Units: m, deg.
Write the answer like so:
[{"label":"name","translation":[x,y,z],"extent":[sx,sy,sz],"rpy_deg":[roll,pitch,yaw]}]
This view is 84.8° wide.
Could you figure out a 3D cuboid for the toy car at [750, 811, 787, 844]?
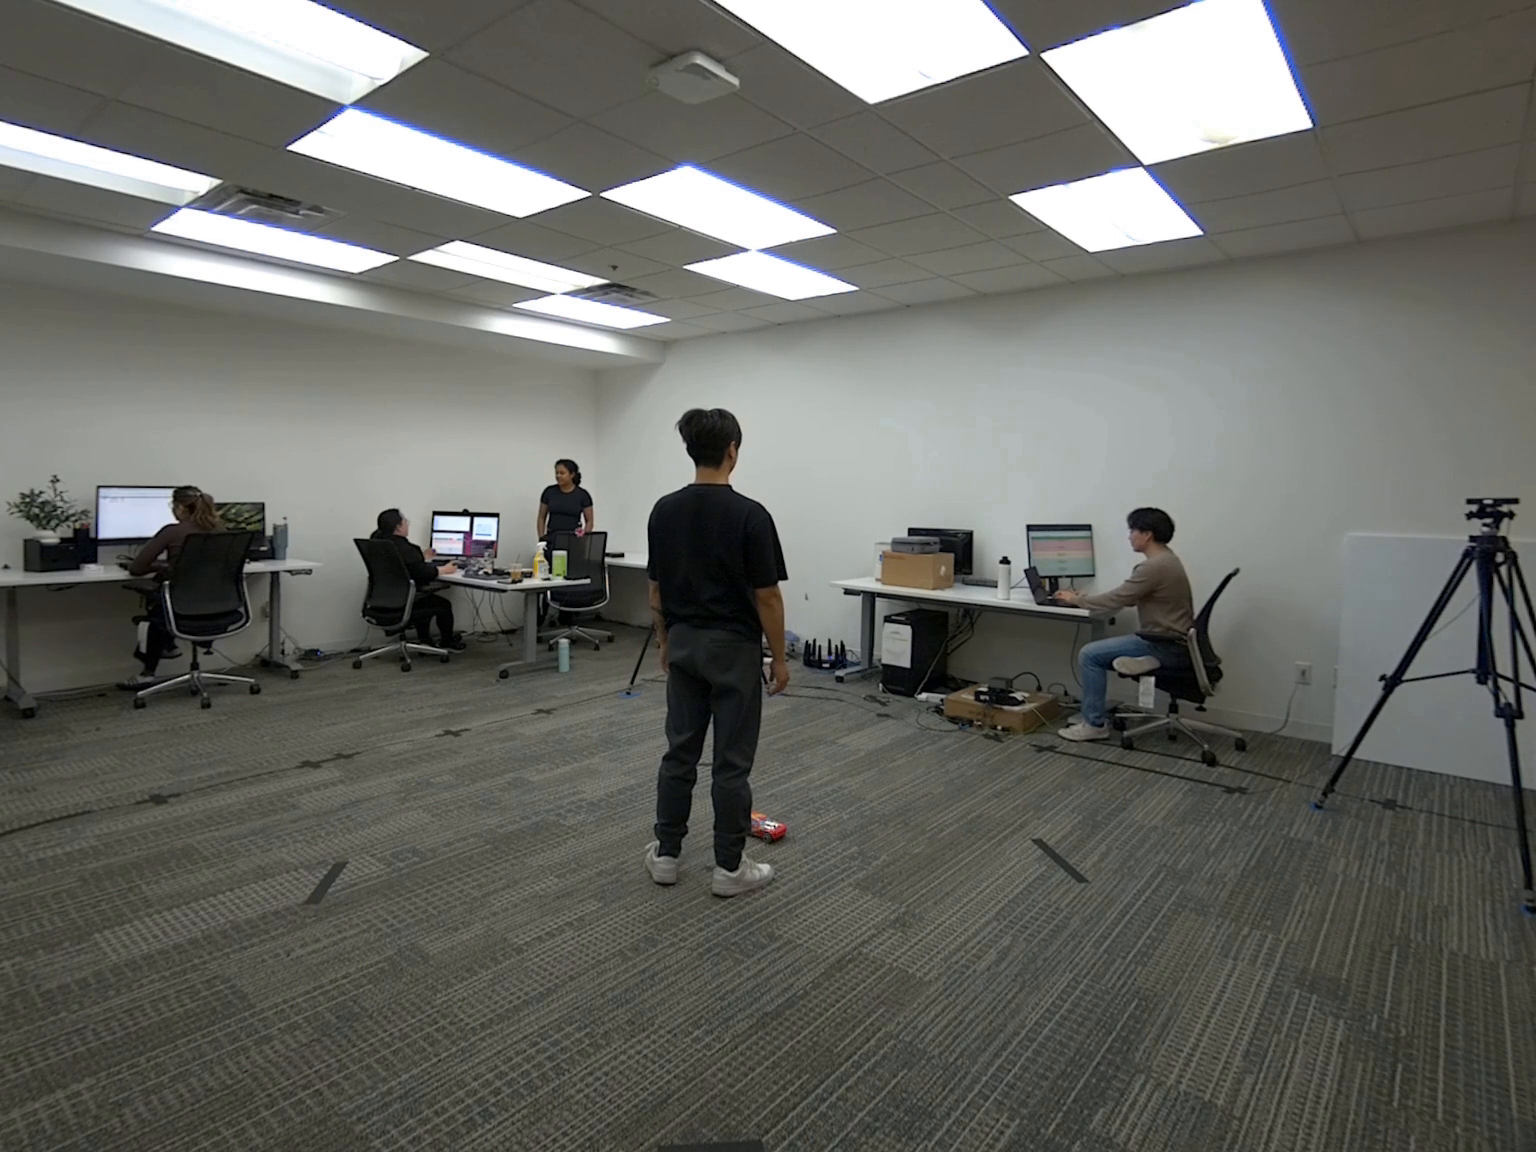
[{"label":"toy car","translation":[-0.059,1.004,3.441],"extent":[0.264,0.082,0.126],"rpy_deg":[17,13,35]}]
